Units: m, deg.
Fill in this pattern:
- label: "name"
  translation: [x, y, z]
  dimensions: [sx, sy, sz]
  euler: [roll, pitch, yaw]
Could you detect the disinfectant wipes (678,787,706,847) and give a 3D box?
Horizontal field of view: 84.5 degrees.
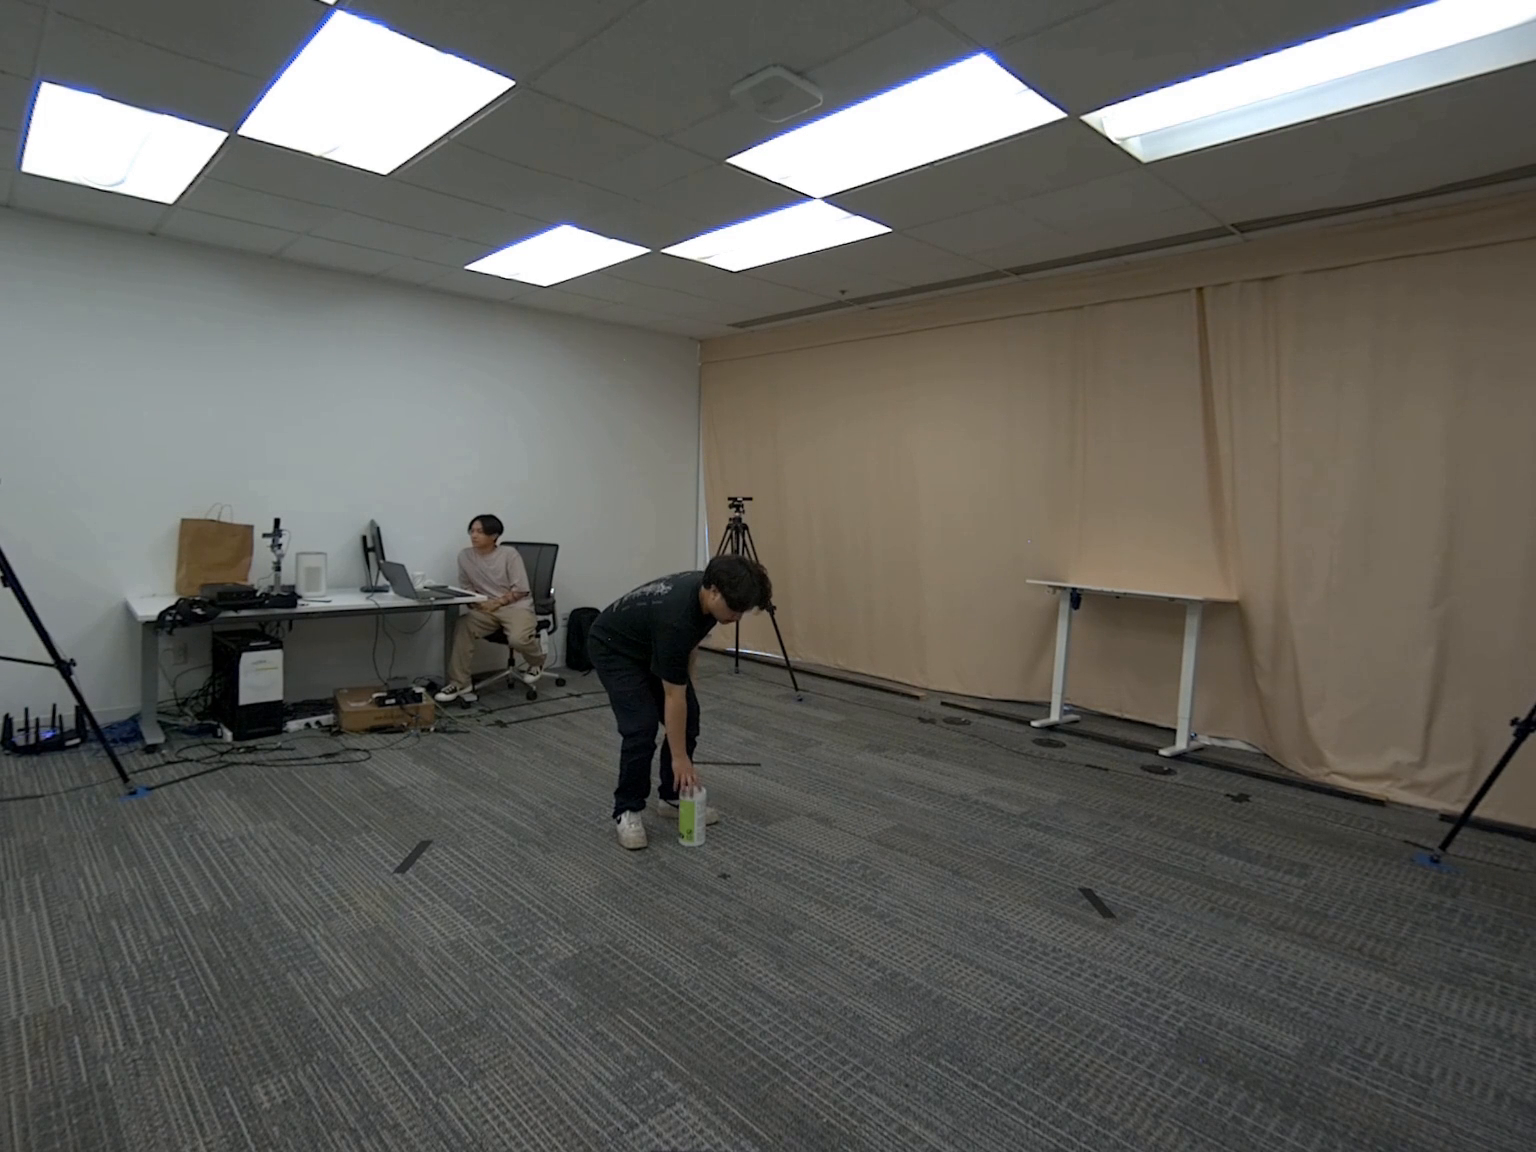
- label: "disinfectant wipes"
  translation: [-0.315, 0.974, 3.409]
  dimensions: [0.118, 0.217, 0.118]
  euler: [3, 4, -2]
